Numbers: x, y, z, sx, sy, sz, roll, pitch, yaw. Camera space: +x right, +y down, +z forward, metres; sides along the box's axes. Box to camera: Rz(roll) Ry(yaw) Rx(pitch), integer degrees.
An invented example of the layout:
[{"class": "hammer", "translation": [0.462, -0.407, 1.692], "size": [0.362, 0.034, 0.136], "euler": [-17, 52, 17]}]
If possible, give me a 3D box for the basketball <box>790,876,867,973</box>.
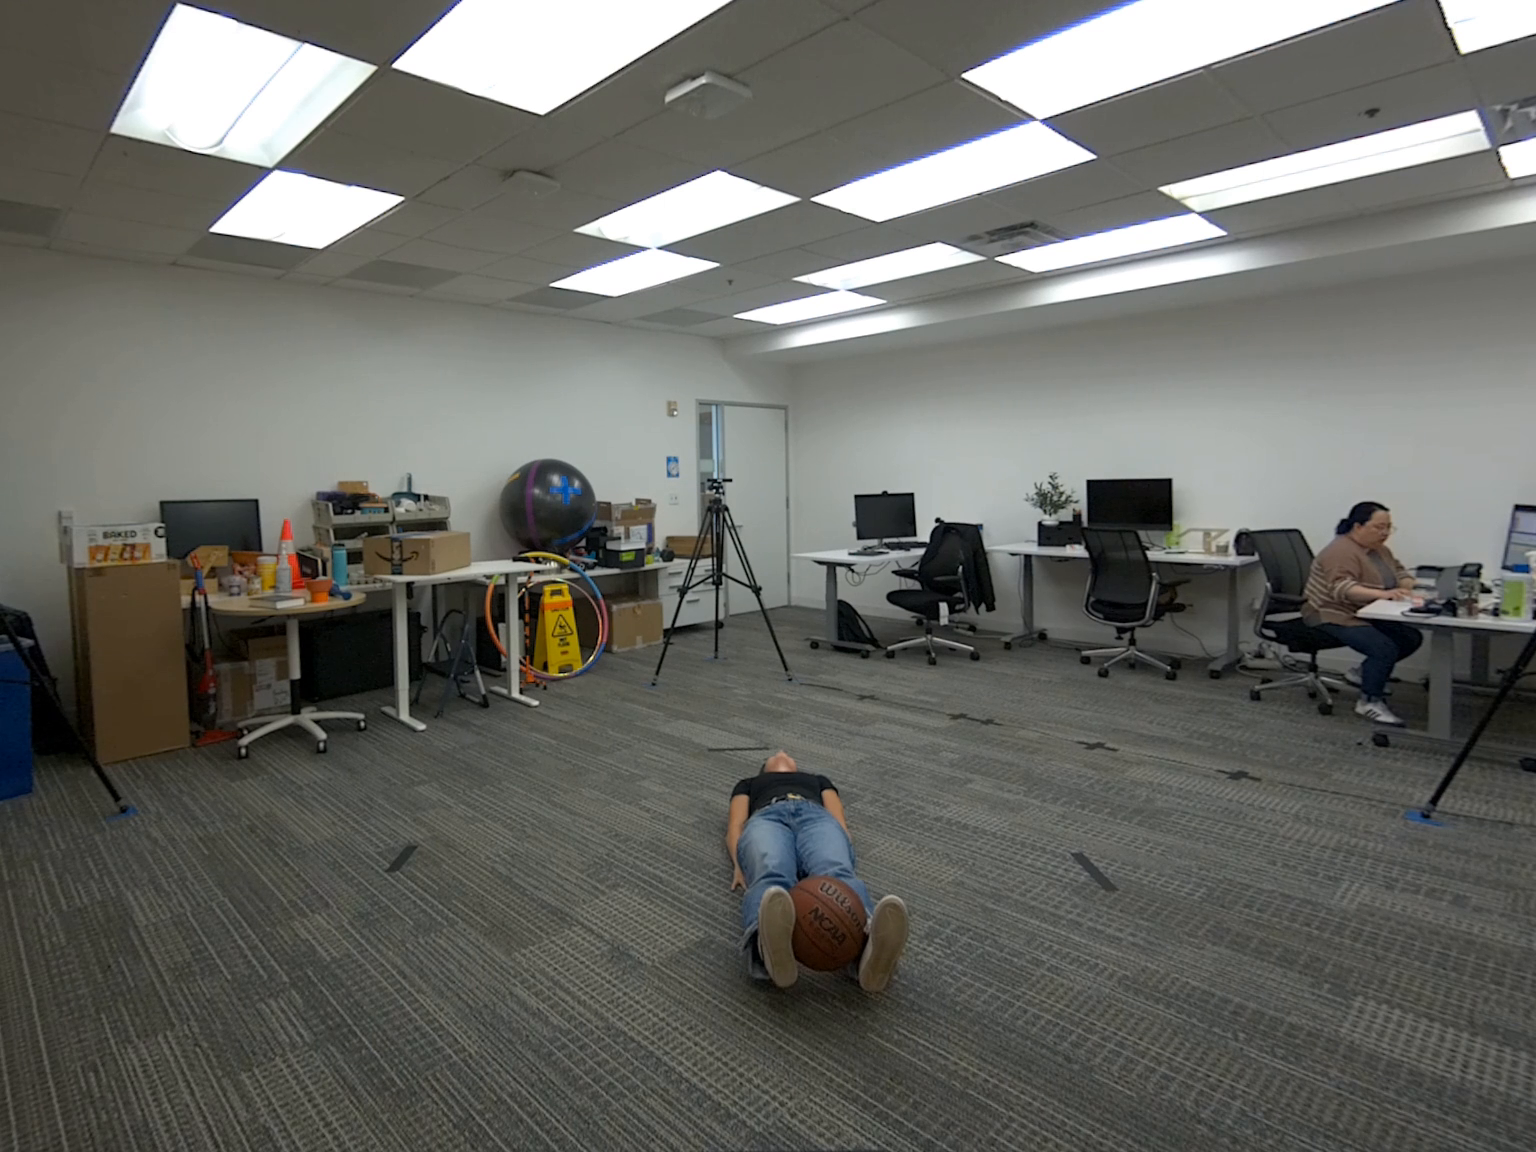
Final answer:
[{"class": "basketball", "translation": [0.157, 0.932, 2.323], "size": [0.236, 0.235, 0.237], "euler": [-1, 5, -2]}]
